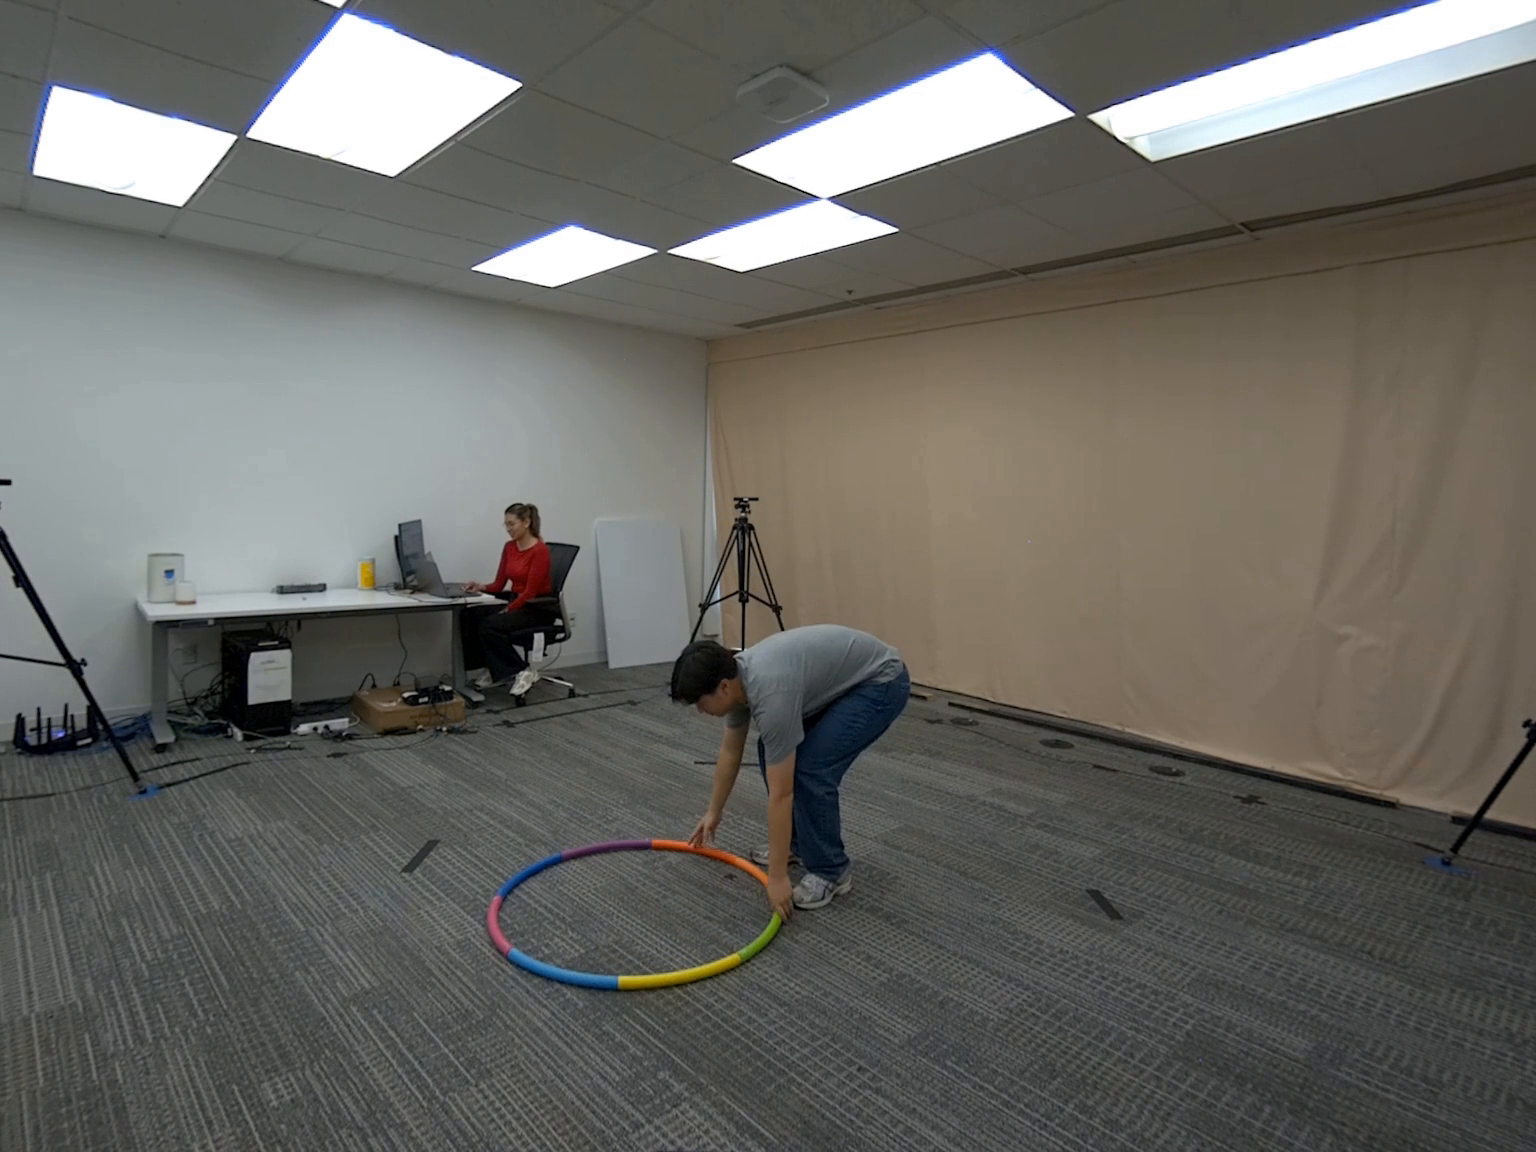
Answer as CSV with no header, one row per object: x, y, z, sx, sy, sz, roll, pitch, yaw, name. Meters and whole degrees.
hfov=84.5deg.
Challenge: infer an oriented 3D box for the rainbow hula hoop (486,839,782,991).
-0.451,1.088,2.848,0.978,0.035,0.982,1,5,-1,rainbow hula hoop
